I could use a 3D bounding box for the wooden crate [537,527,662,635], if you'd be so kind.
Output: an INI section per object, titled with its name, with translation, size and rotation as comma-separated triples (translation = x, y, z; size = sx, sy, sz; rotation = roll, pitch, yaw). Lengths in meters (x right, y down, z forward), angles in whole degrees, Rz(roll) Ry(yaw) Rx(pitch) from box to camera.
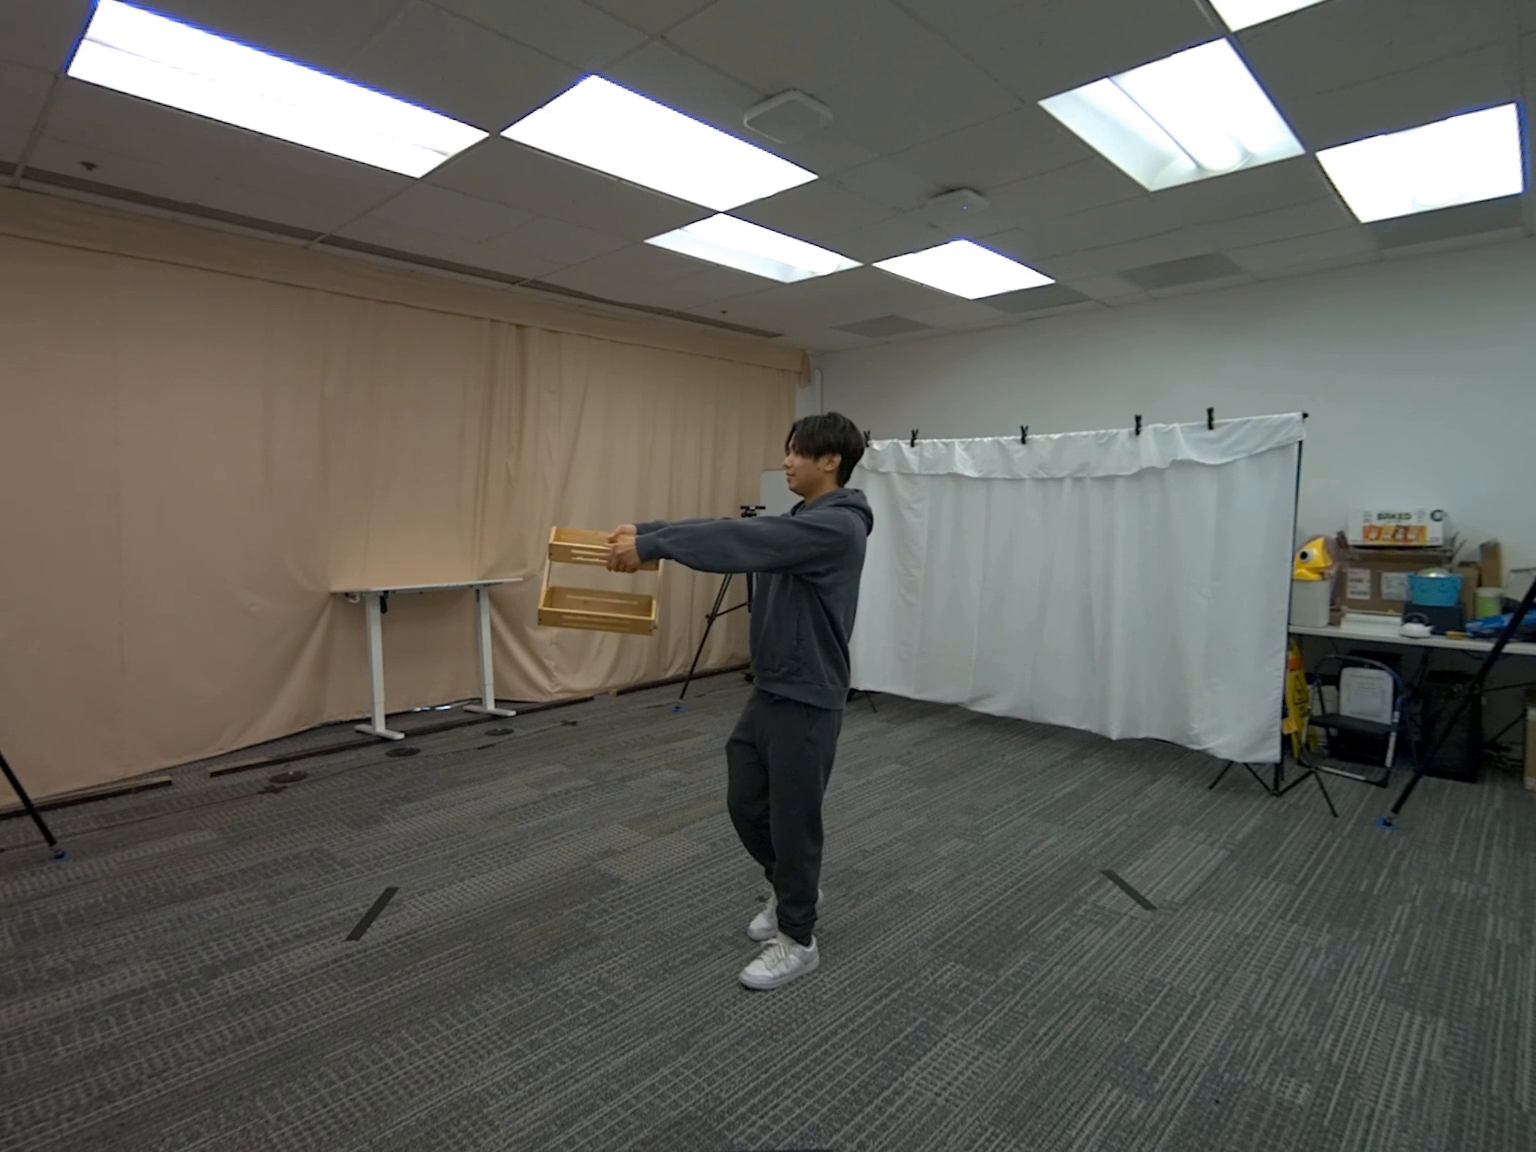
[wooden crate]
translation = -0.457, 0.005, 2.341
size = 0.323, 0.273, 0.303
rotation = 4, -1, -6
